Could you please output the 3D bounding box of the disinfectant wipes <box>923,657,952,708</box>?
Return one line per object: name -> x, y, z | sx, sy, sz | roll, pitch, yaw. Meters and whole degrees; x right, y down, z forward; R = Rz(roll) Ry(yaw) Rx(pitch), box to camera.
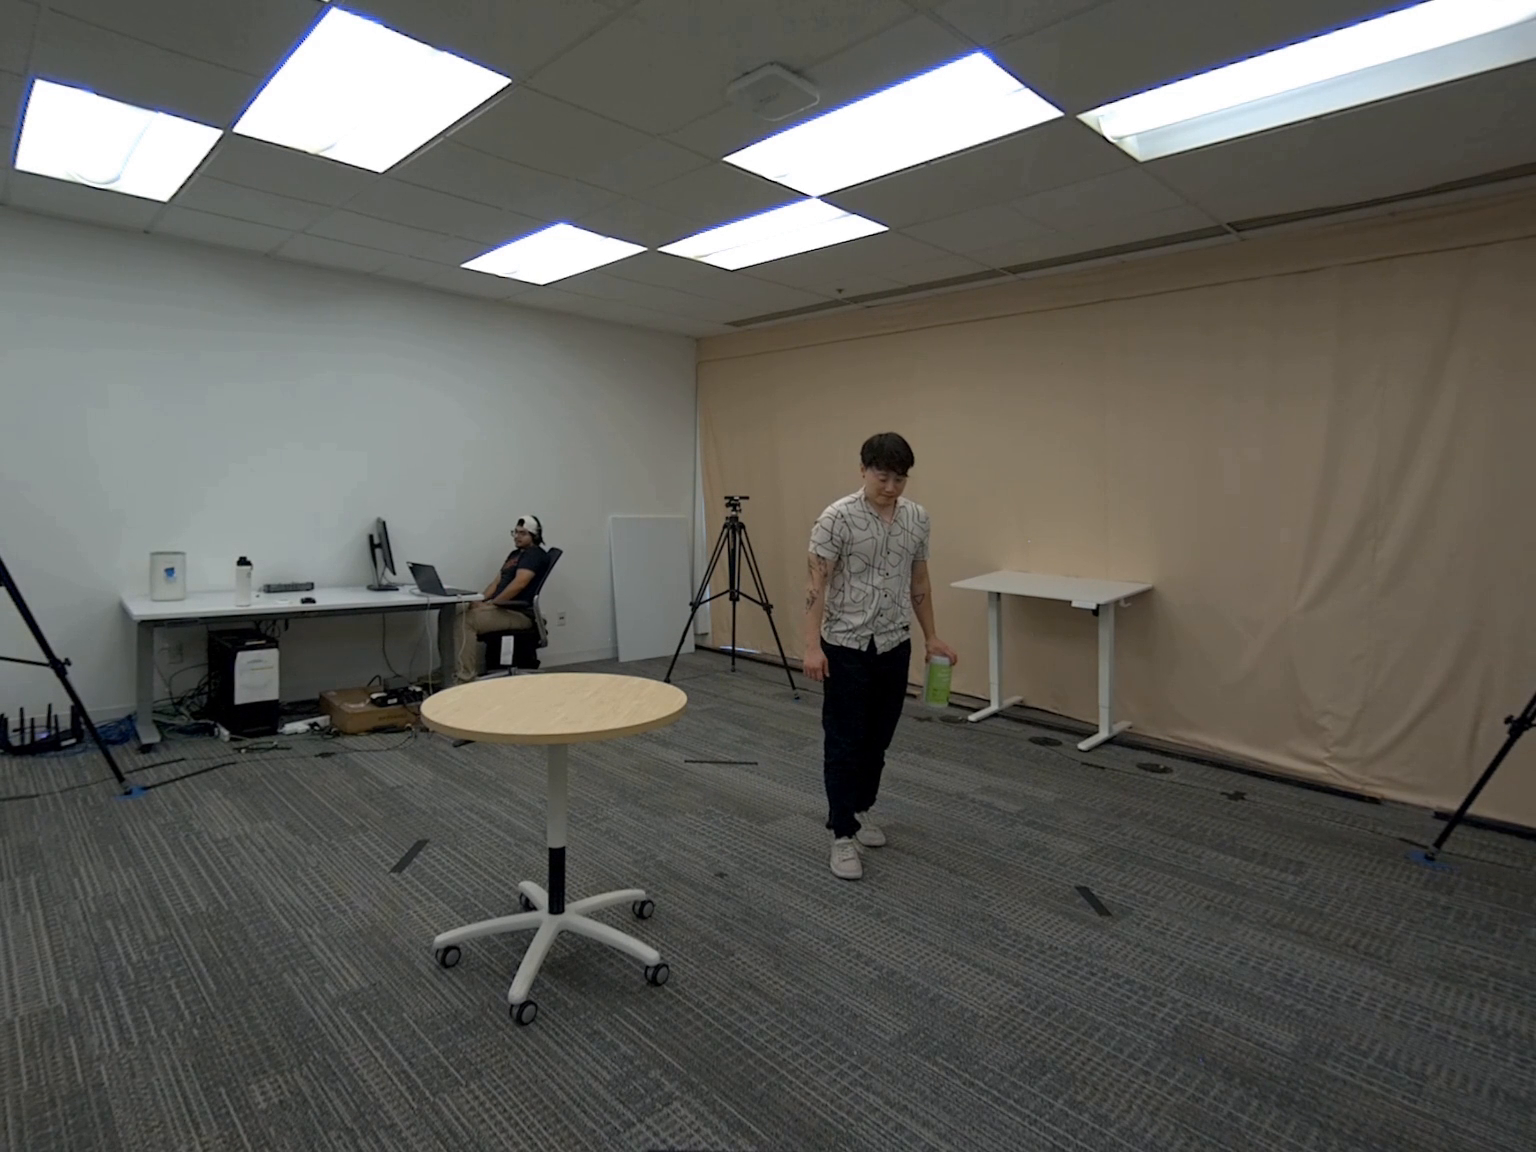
disinfectant wipes -> 0.688, 0.430, 3.474 | 0.117, 0.216, 0.119 | 4, 12, -2
